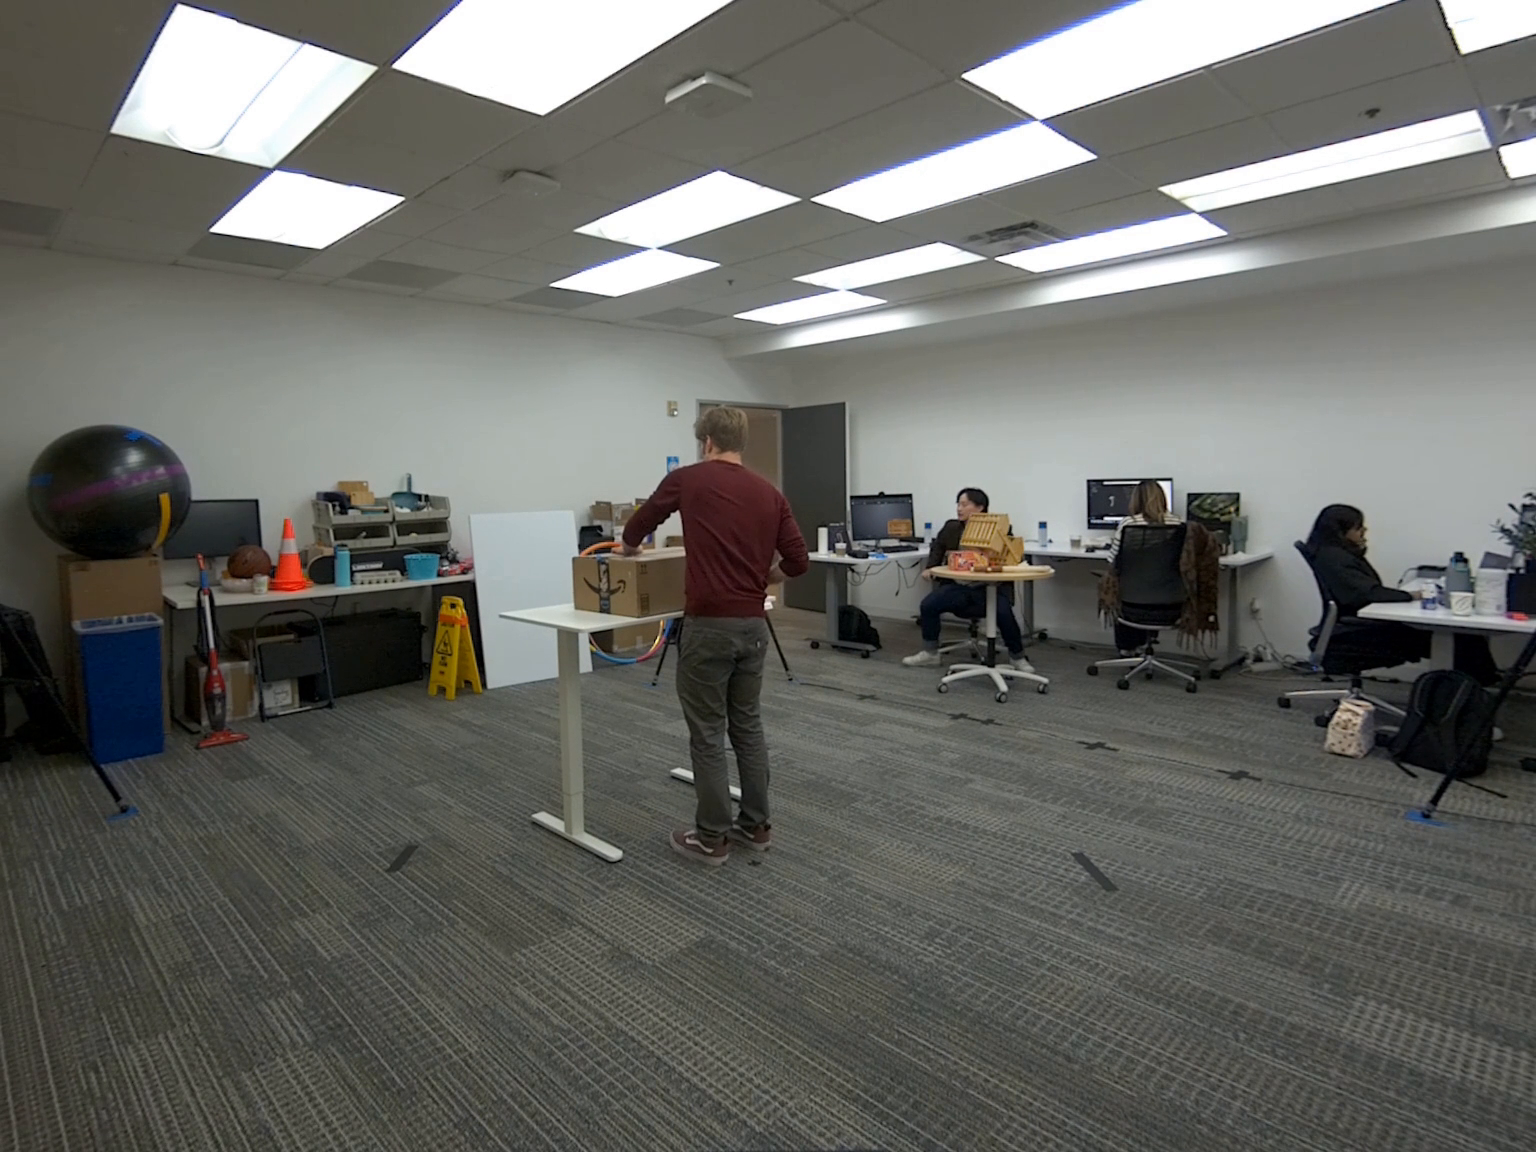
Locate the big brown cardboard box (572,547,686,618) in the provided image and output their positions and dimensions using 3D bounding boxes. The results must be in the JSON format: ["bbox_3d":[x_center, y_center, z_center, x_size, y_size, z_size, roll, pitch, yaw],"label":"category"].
[{"bbox_3d":[-0.457,0.009,3.529,0.430,0.232,0.573,3,7,42],"label":"big brown cardboard box"}]
